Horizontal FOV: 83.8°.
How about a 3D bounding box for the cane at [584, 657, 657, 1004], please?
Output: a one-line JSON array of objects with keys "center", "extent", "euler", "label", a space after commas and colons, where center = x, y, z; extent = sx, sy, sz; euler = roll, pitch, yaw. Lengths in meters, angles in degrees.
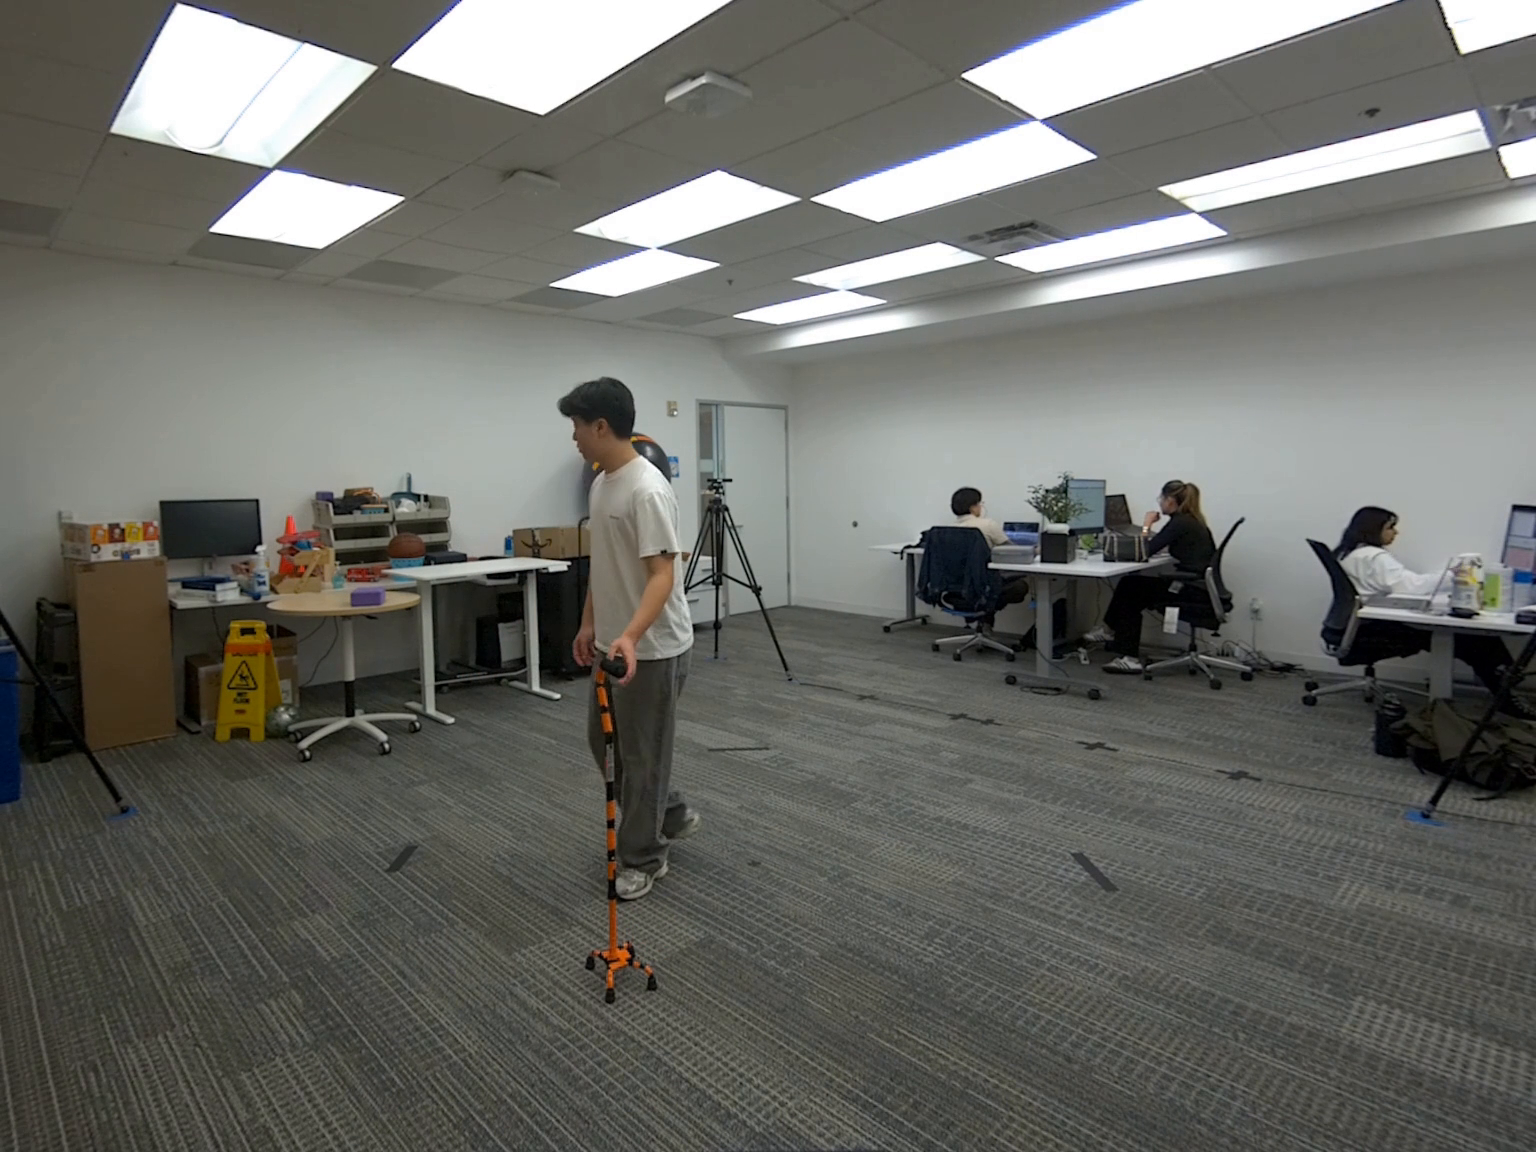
[{"center": [-0.422, 0.691, 2.382], "extent": [0.148, 0.904, 0.212], "euler": [-3, 4, -28], "label": "cane"}]
